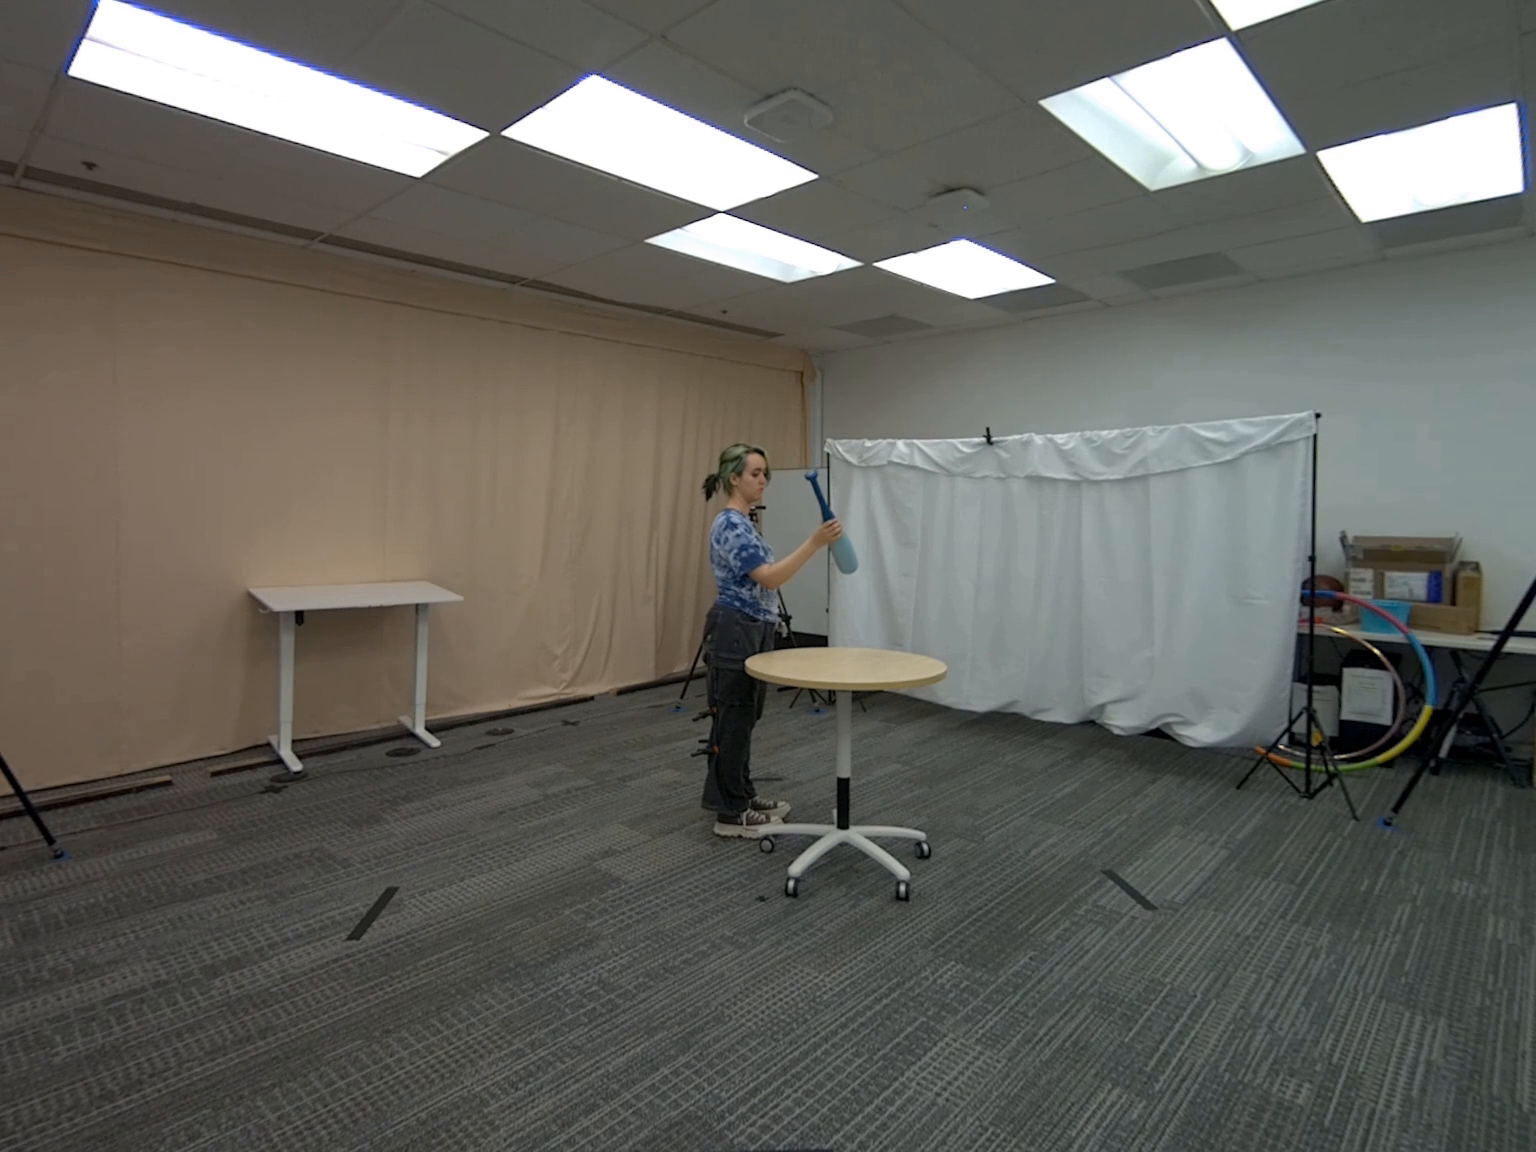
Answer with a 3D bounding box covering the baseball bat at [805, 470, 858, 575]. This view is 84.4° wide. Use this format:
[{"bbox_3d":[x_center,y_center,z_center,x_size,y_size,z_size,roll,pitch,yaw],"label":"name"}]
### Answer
[{"bbox_3d":[0.244,-0.211,3.331,0.090,0.526,0.091,-16,41,12],"label":"baseball bat"}]
